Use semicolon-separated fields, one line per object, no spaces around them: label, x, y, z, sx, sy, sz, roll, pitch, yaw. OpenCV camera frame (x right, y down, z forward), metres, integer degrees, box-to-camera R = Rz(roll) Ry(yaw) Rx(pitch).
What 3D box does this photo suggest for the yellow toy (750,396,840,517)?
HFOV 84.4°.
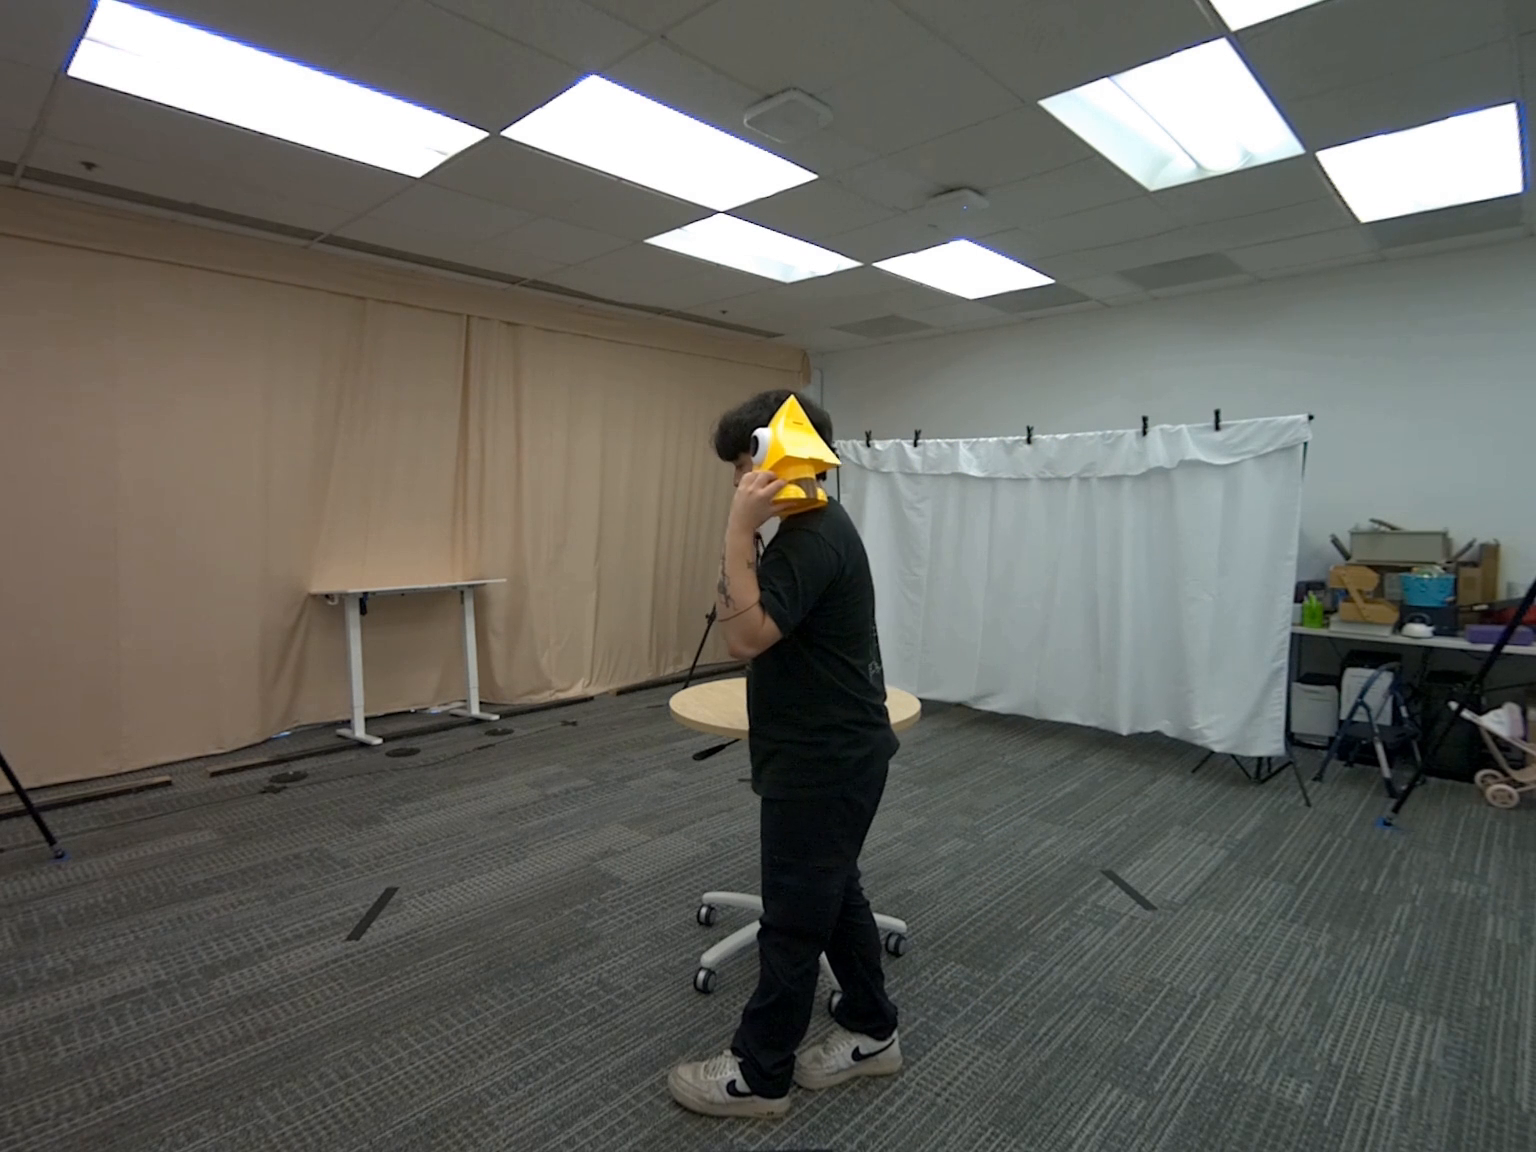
yellow toy;0.023;-0.261;1.814;0.198;0.232;0.198;-14;-9;38
